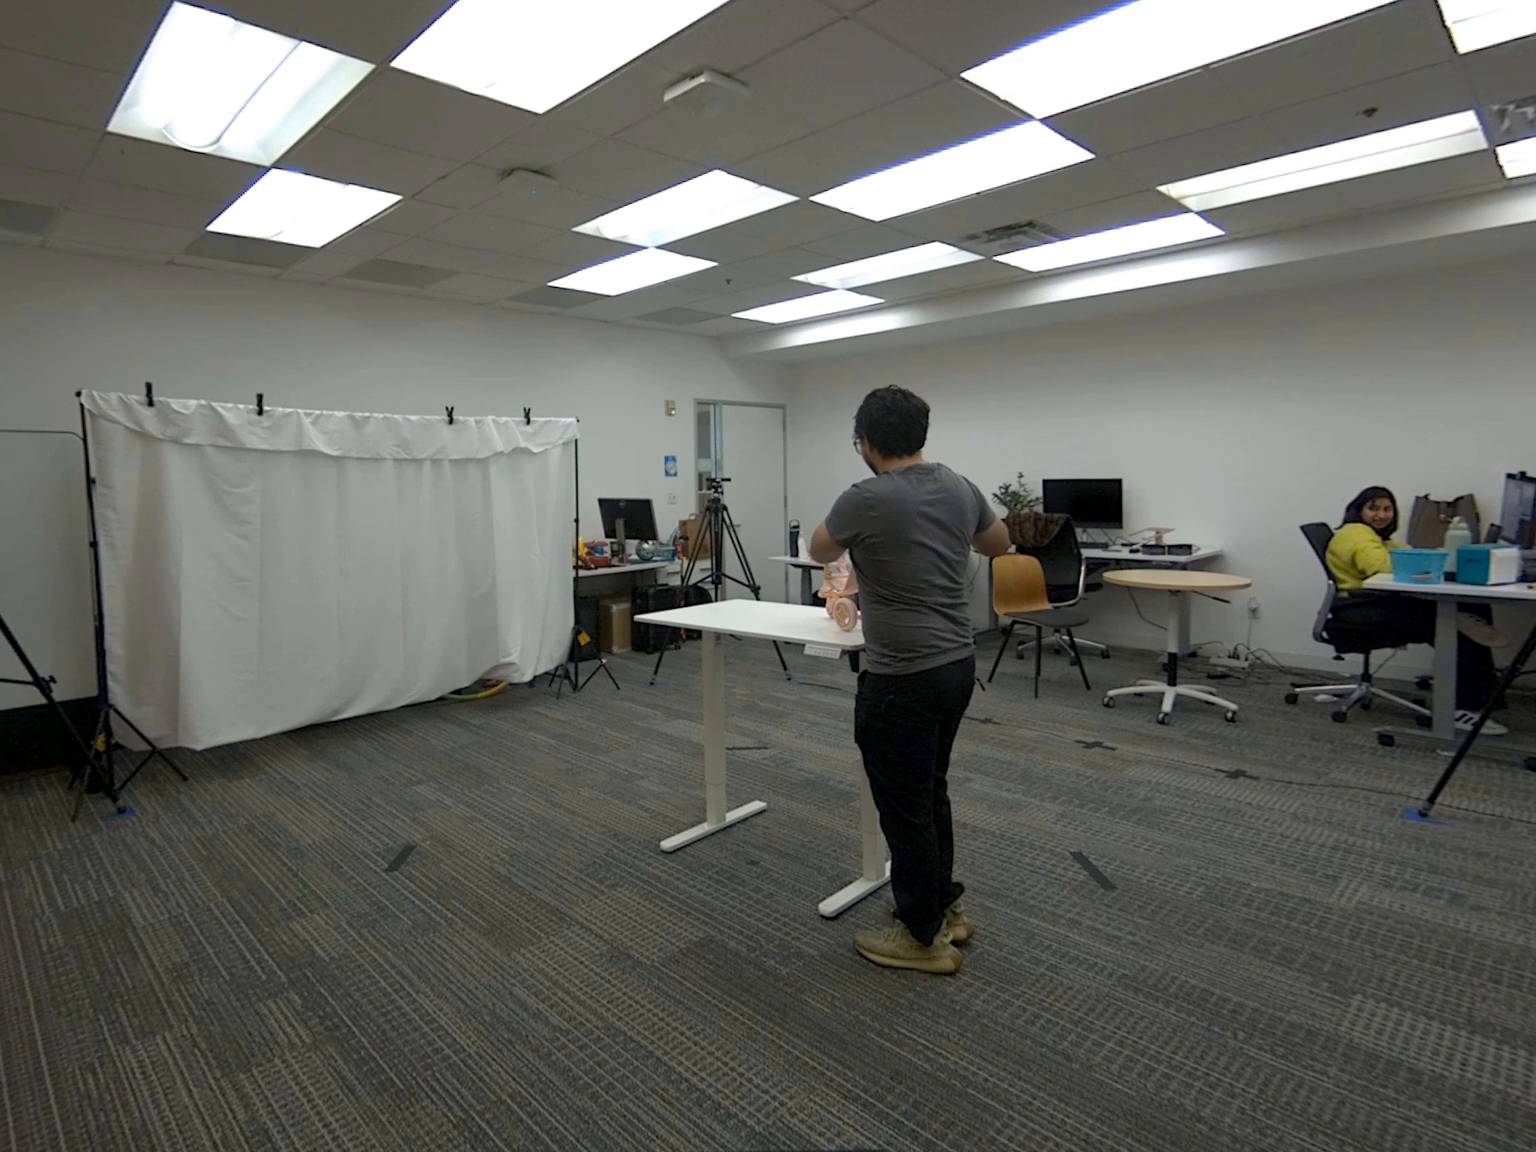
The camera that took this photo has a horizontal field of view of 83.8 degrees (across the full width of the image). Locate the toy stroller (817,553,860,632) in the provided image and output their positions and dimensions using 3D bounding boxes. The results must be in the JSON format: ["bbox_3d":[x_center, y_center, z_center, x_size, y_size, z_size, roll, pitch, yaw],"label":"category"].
[{"bbox_3d":[0.331,-0.054,2.929,0.276,0.527,0.353,-3,21,-25],"label":"toy stroller"}]
